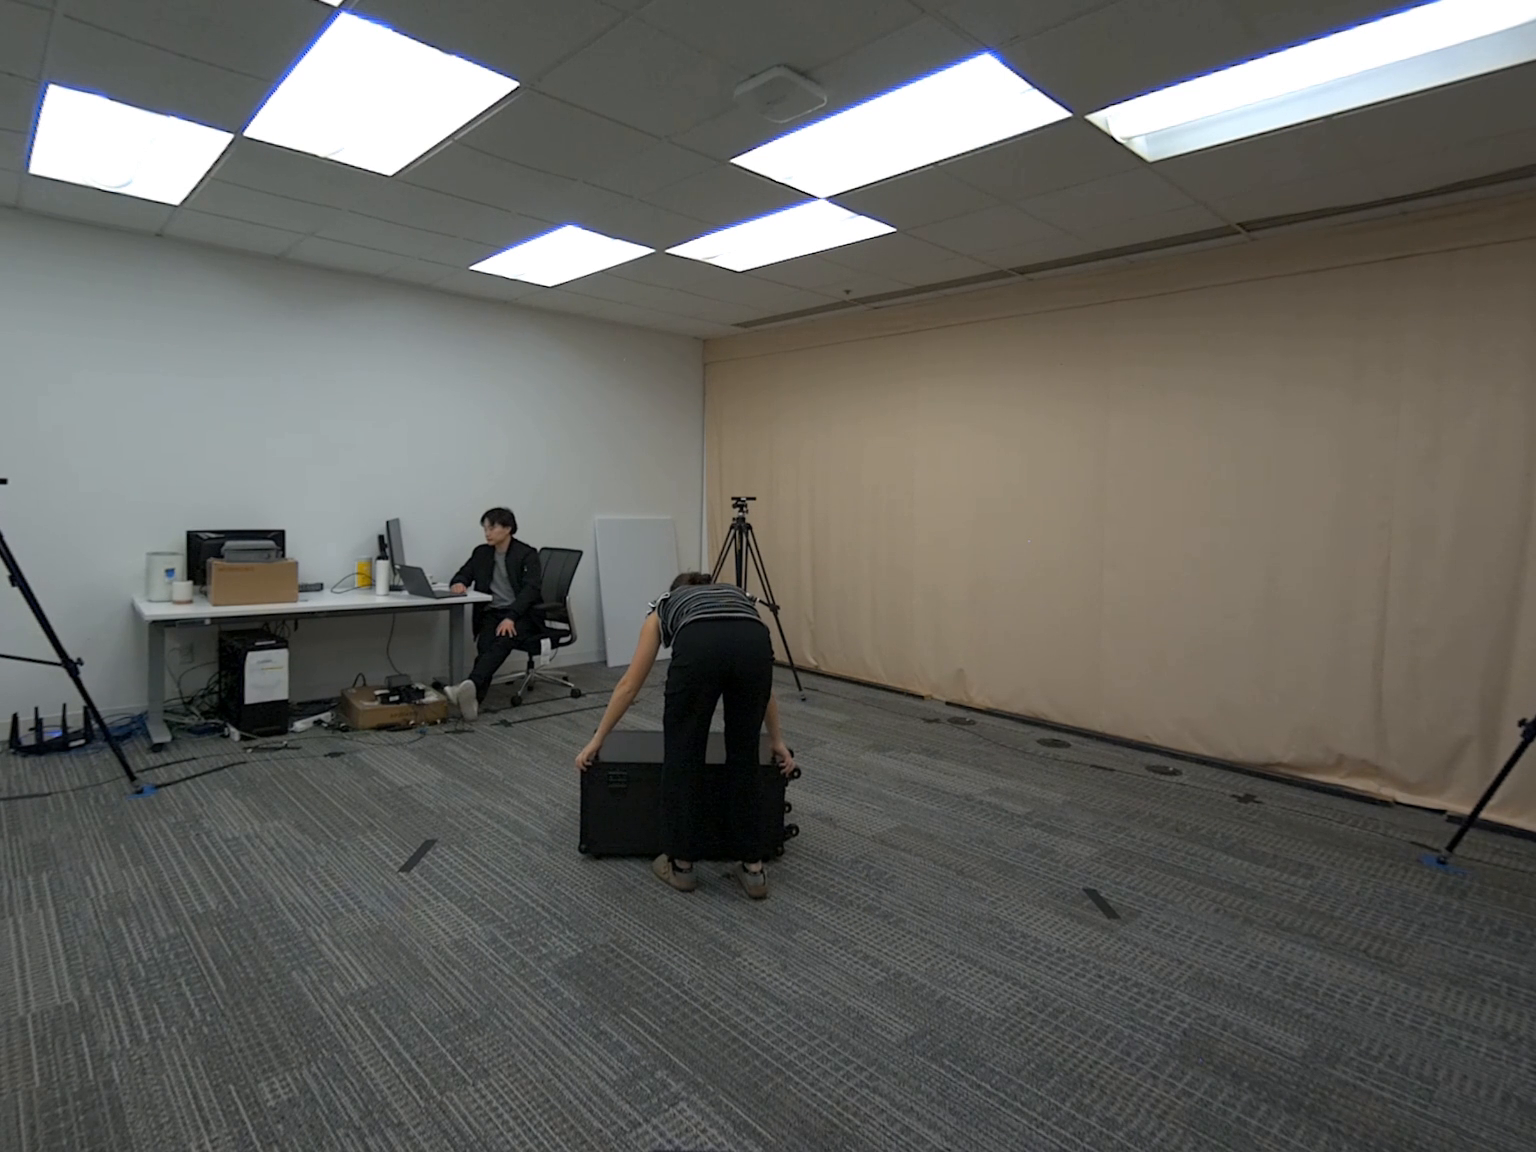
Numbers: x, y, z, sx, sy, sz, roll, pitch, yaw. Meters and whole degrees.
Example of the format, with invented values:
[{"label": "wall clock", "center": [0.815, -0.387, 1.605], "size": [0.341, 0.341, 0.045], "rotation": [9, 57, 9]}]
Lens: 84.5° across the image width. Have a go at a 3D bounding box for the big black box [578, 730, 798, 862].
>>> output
[{"label": "big black box", "center": [-0.314, 0.878, 3.440], "size": [0.859, 0.395, 0.524], "rotation": [1, 3, -4]}]
